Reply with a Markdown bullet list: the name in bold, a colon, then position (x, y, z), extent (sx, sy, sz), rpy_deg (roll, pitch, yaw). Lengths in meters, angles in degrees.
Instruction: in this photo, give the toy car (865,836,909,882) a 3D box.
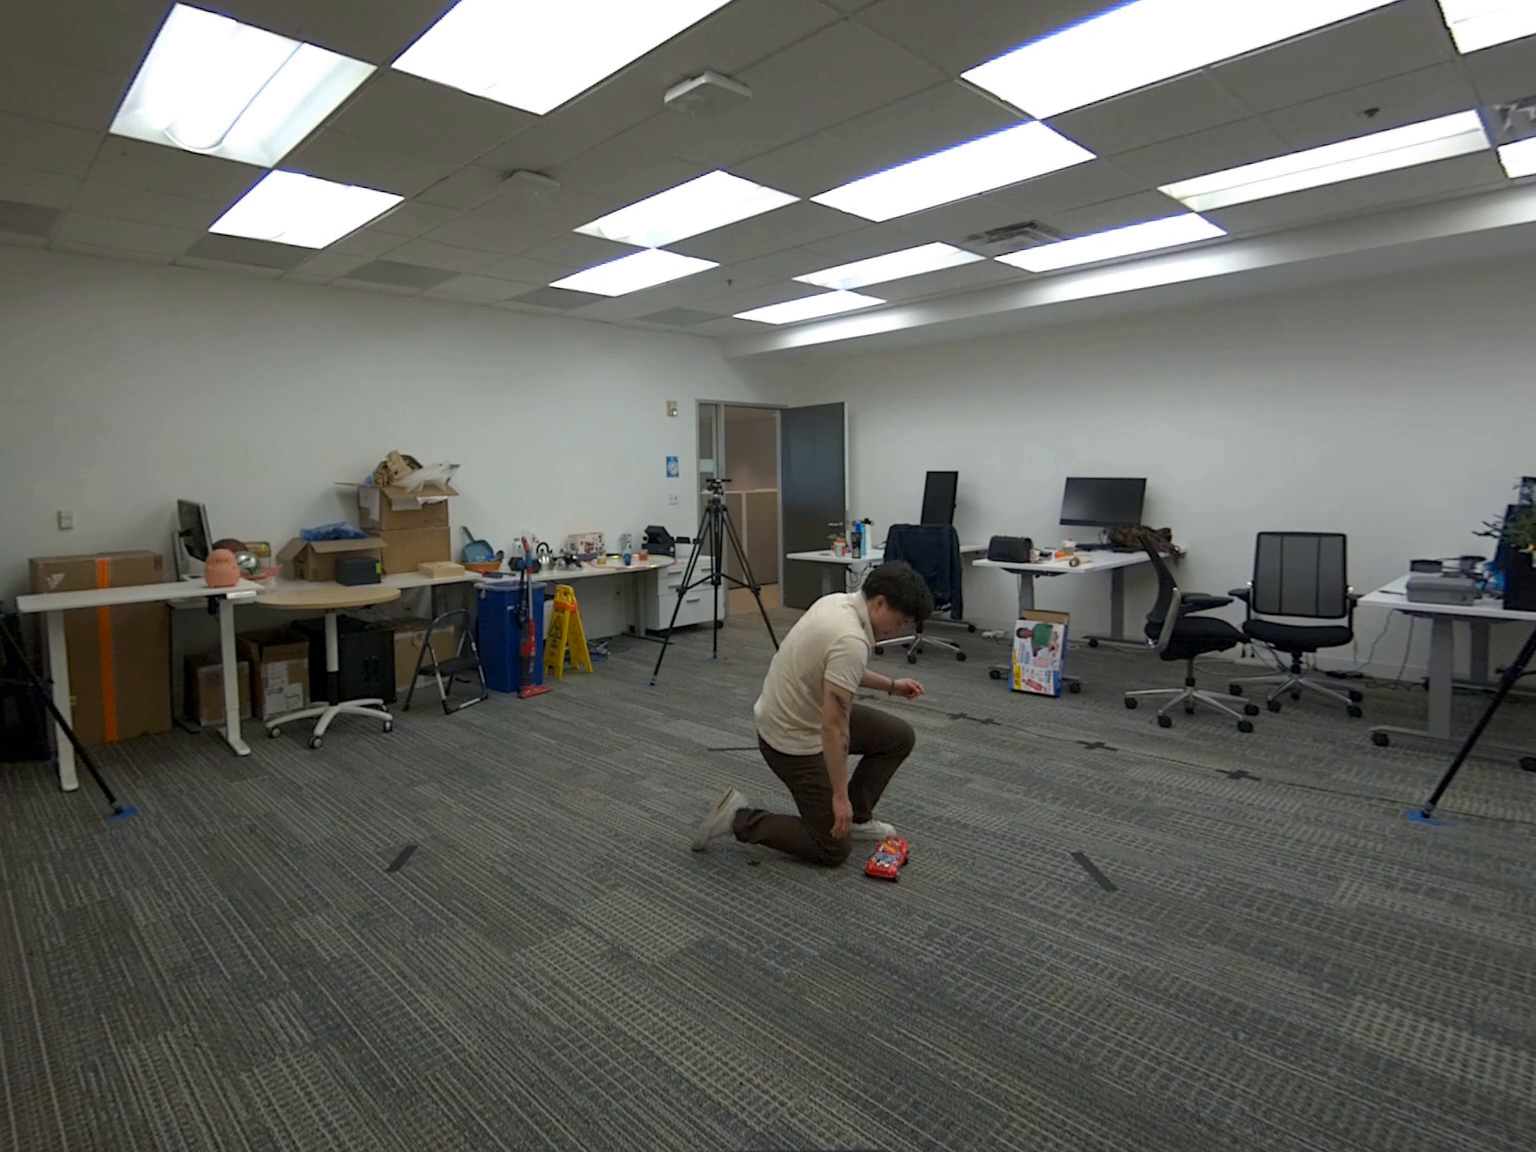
- **toy car**: position (0.431, 1.012, 3.054), extent (0.133, 0.082, 0.252), rpy_deg (1, 17, 25)
